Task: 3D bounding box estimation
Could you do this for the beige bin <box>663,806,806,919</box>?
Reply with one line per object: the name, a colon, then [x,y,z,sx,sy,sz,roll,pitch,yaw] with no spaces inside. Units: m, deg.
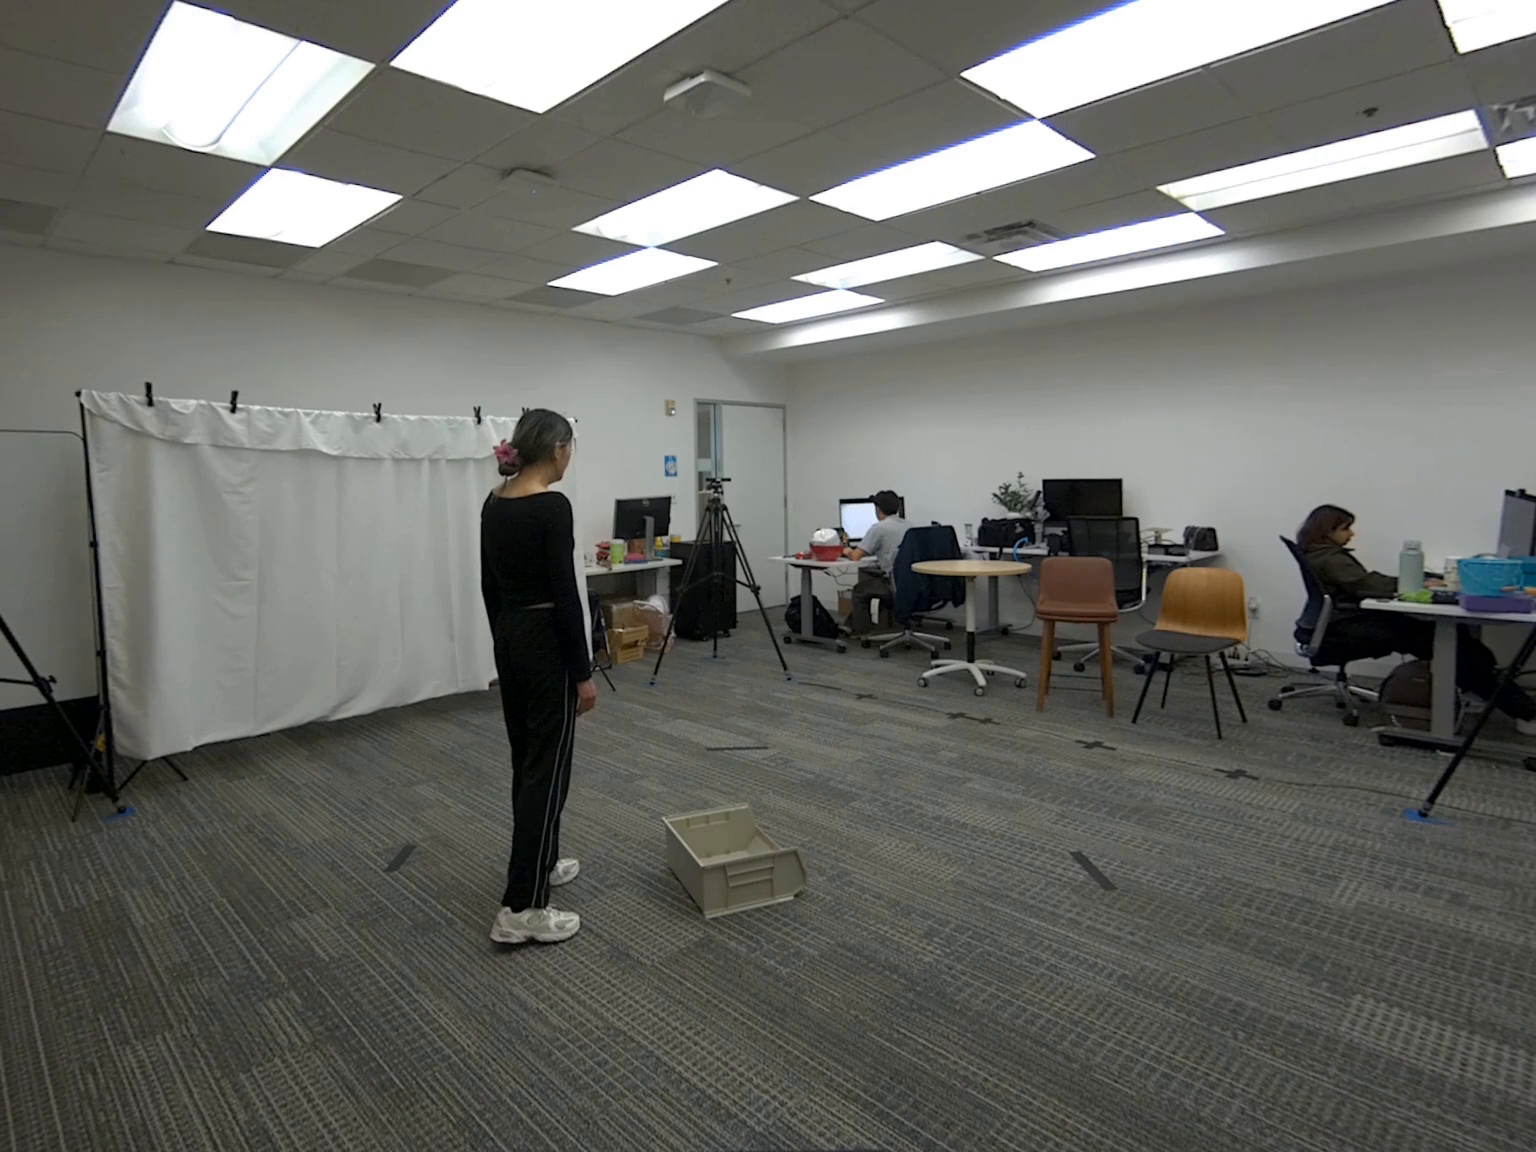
beige bin: [-0.123,0.973,2.964,0.370,0.188,0.433,-4,8,-23]
